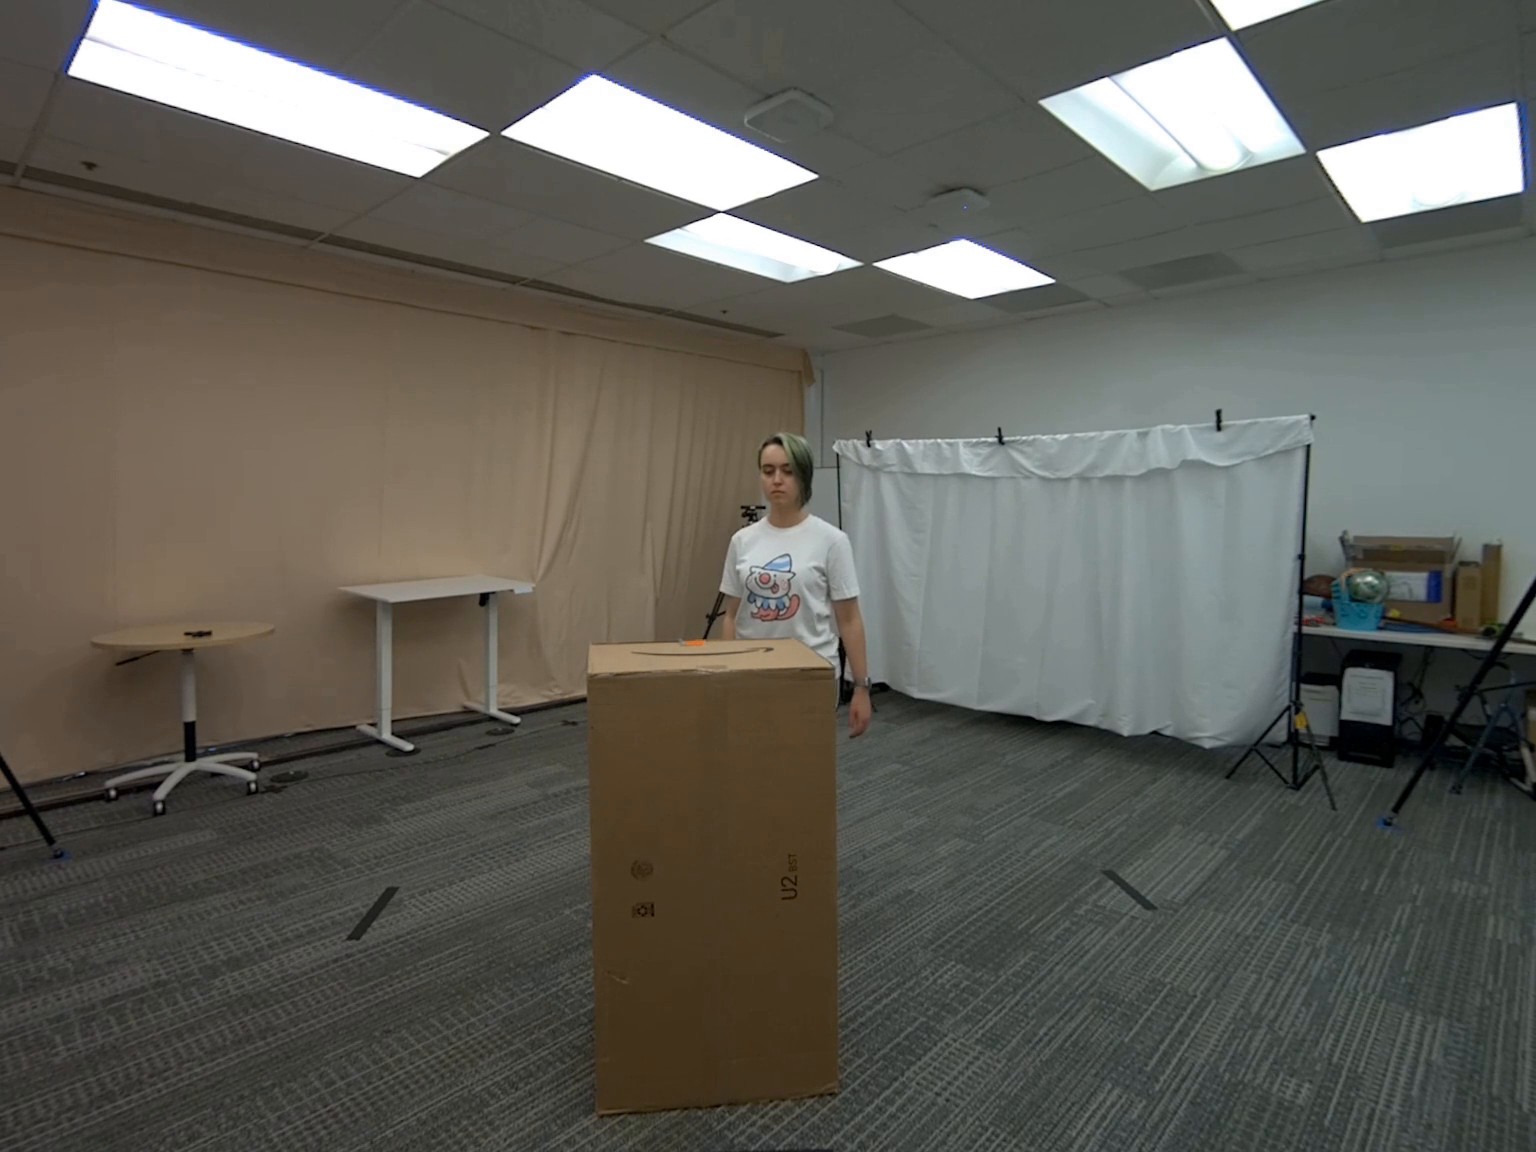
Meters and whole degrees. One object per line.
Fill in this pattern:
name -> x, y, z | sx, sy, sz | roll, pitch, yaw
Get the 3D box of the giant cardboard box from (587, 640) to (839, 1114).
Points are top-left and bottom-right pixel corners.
giant cardboard box -> -0.158, 0.709, 2.137 | 0.578, 1.024, 0.452 | -1, 4, -10
